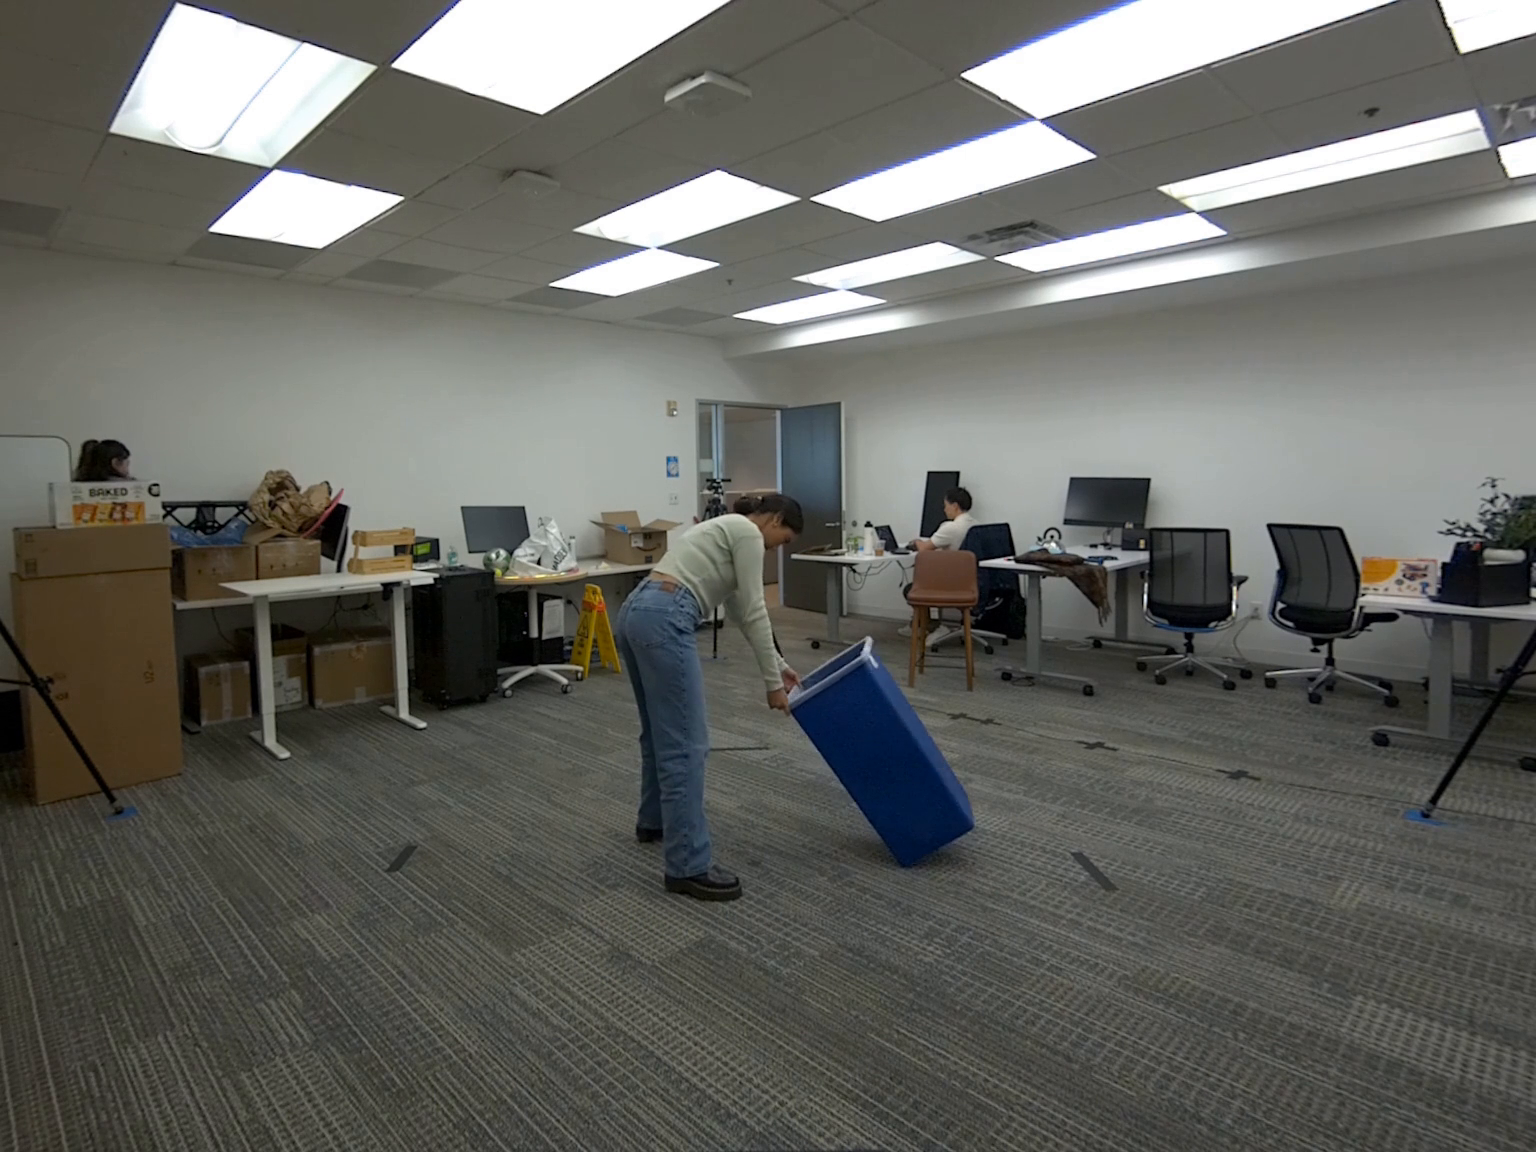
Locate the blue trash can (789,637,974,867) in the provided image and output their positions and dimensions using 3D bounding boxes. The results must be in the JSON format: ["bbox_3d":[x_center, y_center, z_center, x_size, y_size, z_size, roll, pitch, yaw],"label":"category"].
[{"bbox_3d":[0.401,0.650,3.179,0.375,0.717,0.375,-34,-3,11],"label":"blue trash can"}]
